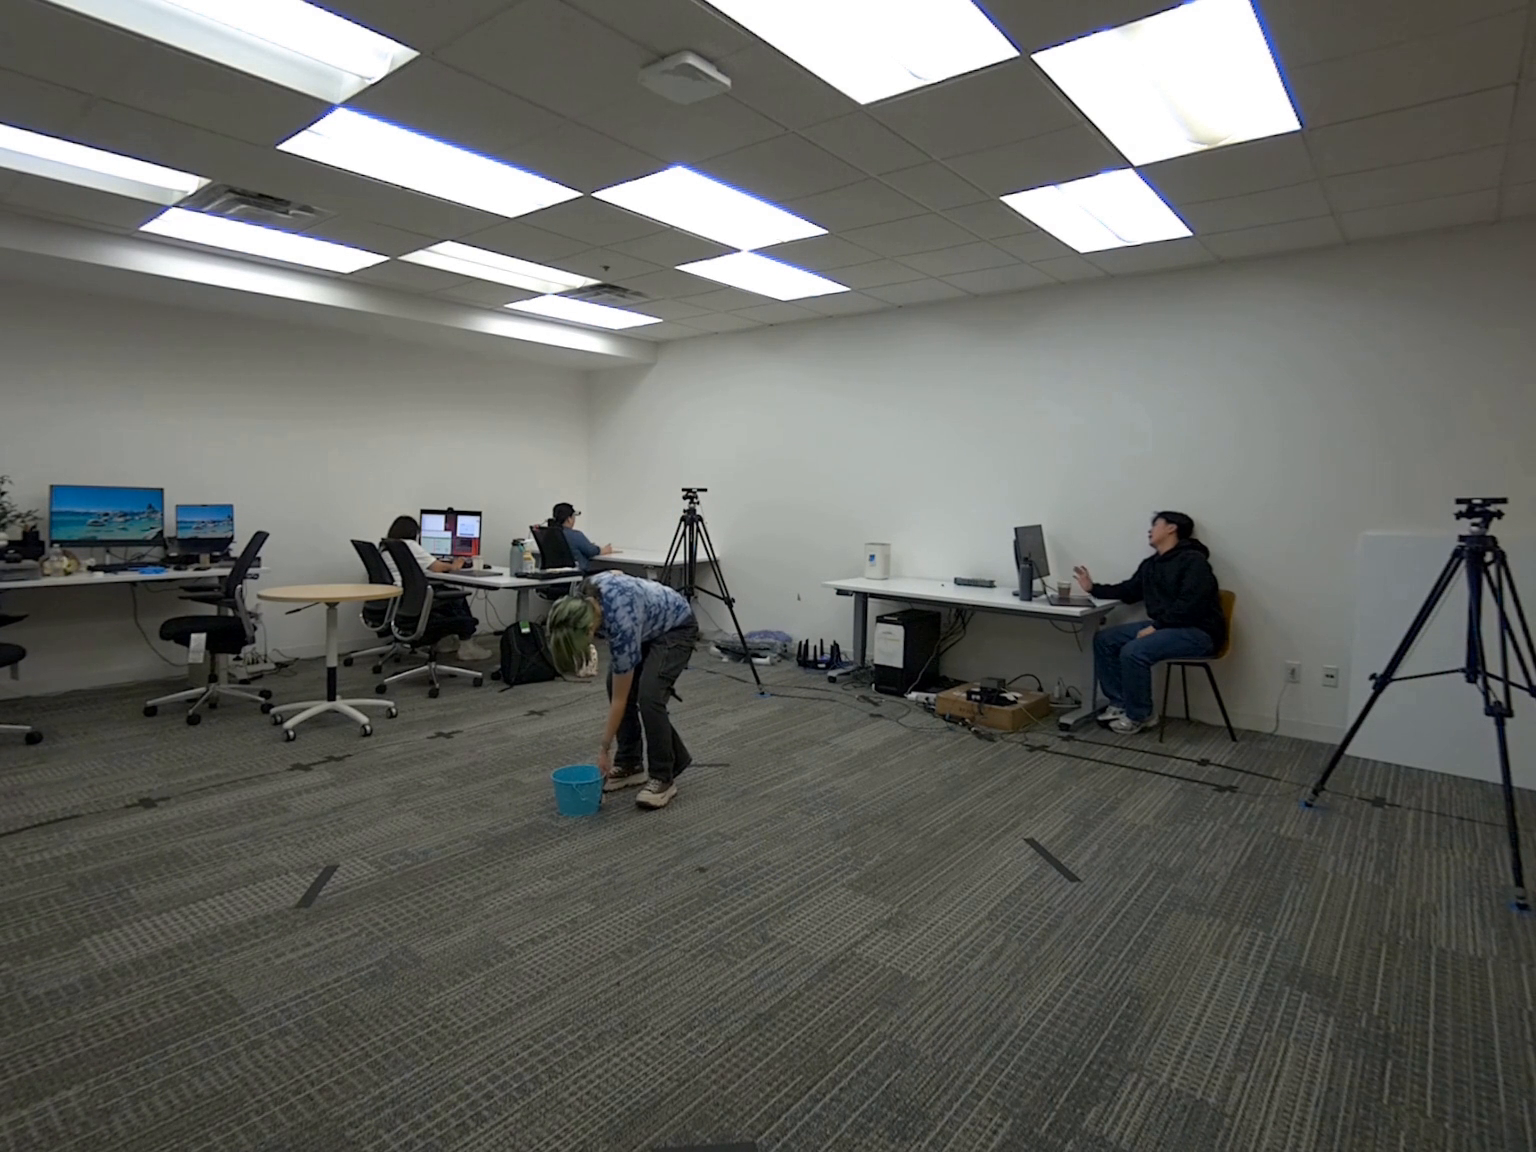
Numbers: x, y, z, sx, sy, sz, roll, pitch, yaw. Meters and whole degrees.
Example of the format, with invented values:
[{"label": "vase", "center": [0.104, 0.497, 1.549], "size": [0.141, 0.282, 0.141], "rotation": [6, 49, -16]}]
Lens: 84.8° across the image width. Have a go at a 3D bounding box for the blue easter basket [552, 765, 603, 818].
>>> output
[{"label": "blue easter basket", "center": [-0.834, 0.928, 3.677], "size": [0.243, 0.155, 0.245], "rotation": [0, 6, -2]}]
